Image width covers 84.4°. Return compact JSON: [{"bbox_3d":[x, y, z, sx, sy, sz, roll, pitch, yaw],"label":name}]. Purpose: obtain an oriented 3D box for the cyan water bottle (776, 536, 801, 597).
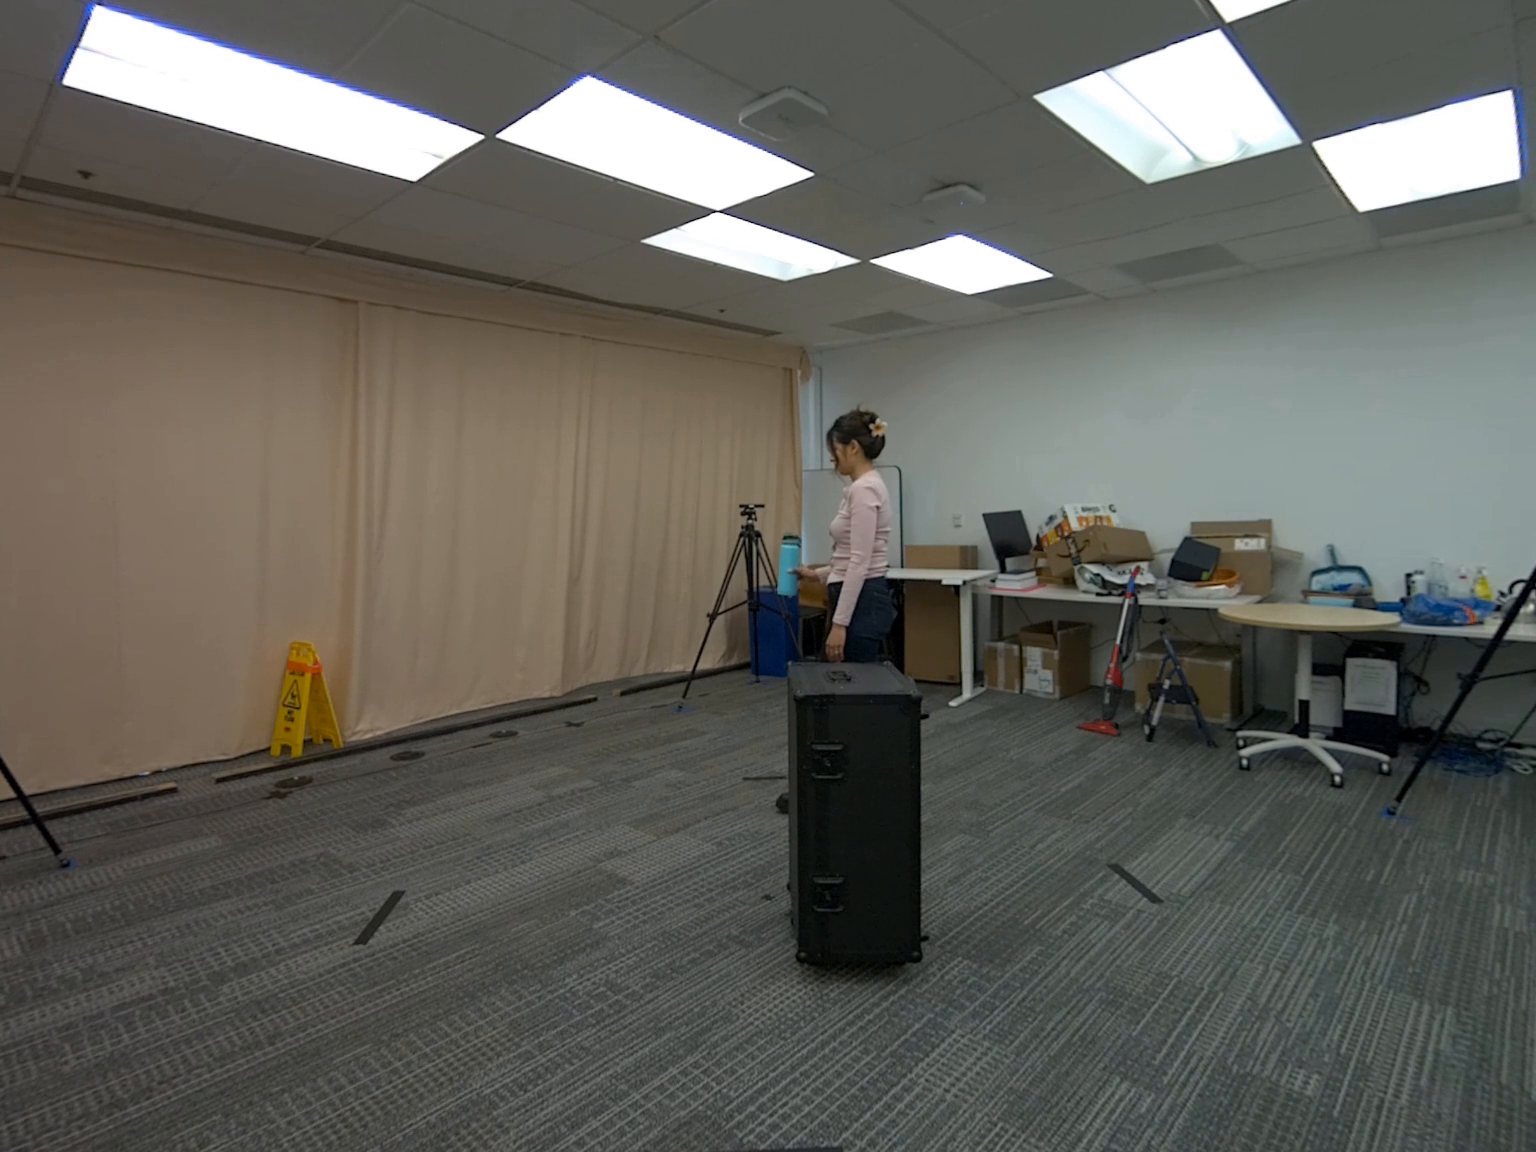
[{"bbox_3d":[0.099,-0.057,3.851,0.092,0.283,0.092,3,0,-2],"label":"cyan water bottle"}]
